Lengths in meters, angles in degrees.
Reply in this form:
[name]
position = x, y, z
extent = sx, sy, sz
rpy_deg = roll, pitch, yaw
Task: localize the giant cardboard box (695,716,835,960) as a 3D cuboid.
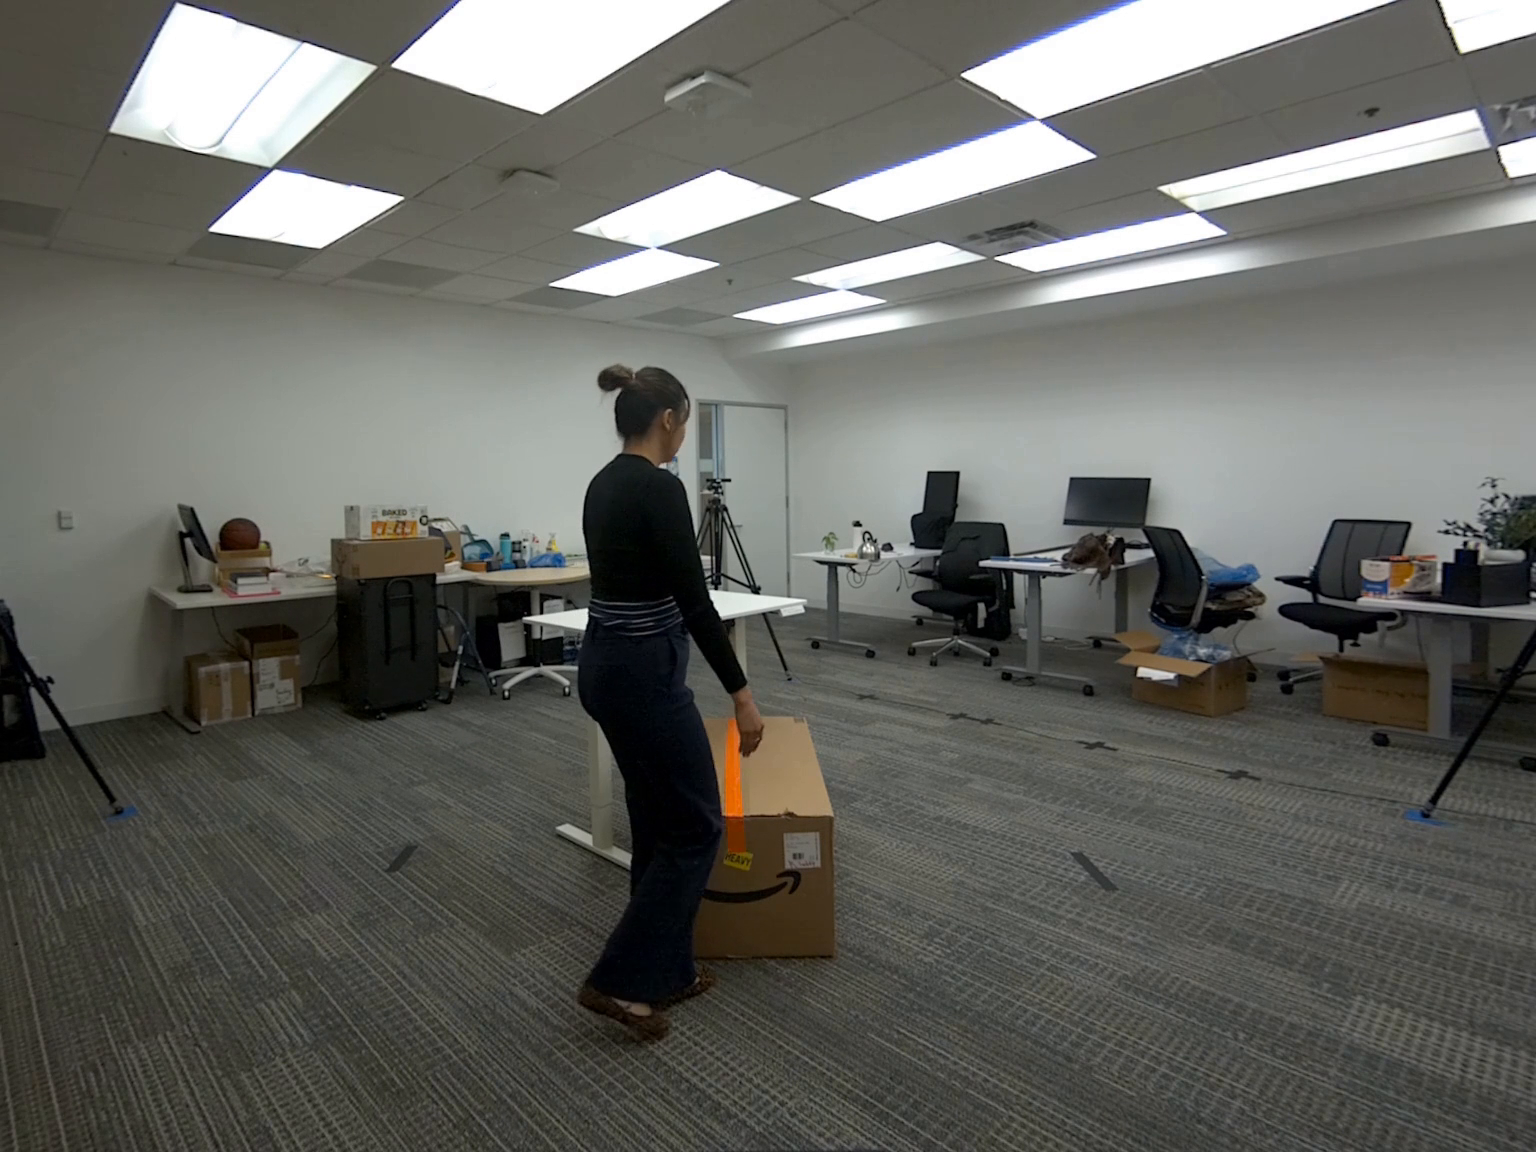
[giant cardboard box]
position = -0.106, 0.847, 2.983
extent = 0.577, 0.424, 1.031
rpy_deg = -2, 6, -2
